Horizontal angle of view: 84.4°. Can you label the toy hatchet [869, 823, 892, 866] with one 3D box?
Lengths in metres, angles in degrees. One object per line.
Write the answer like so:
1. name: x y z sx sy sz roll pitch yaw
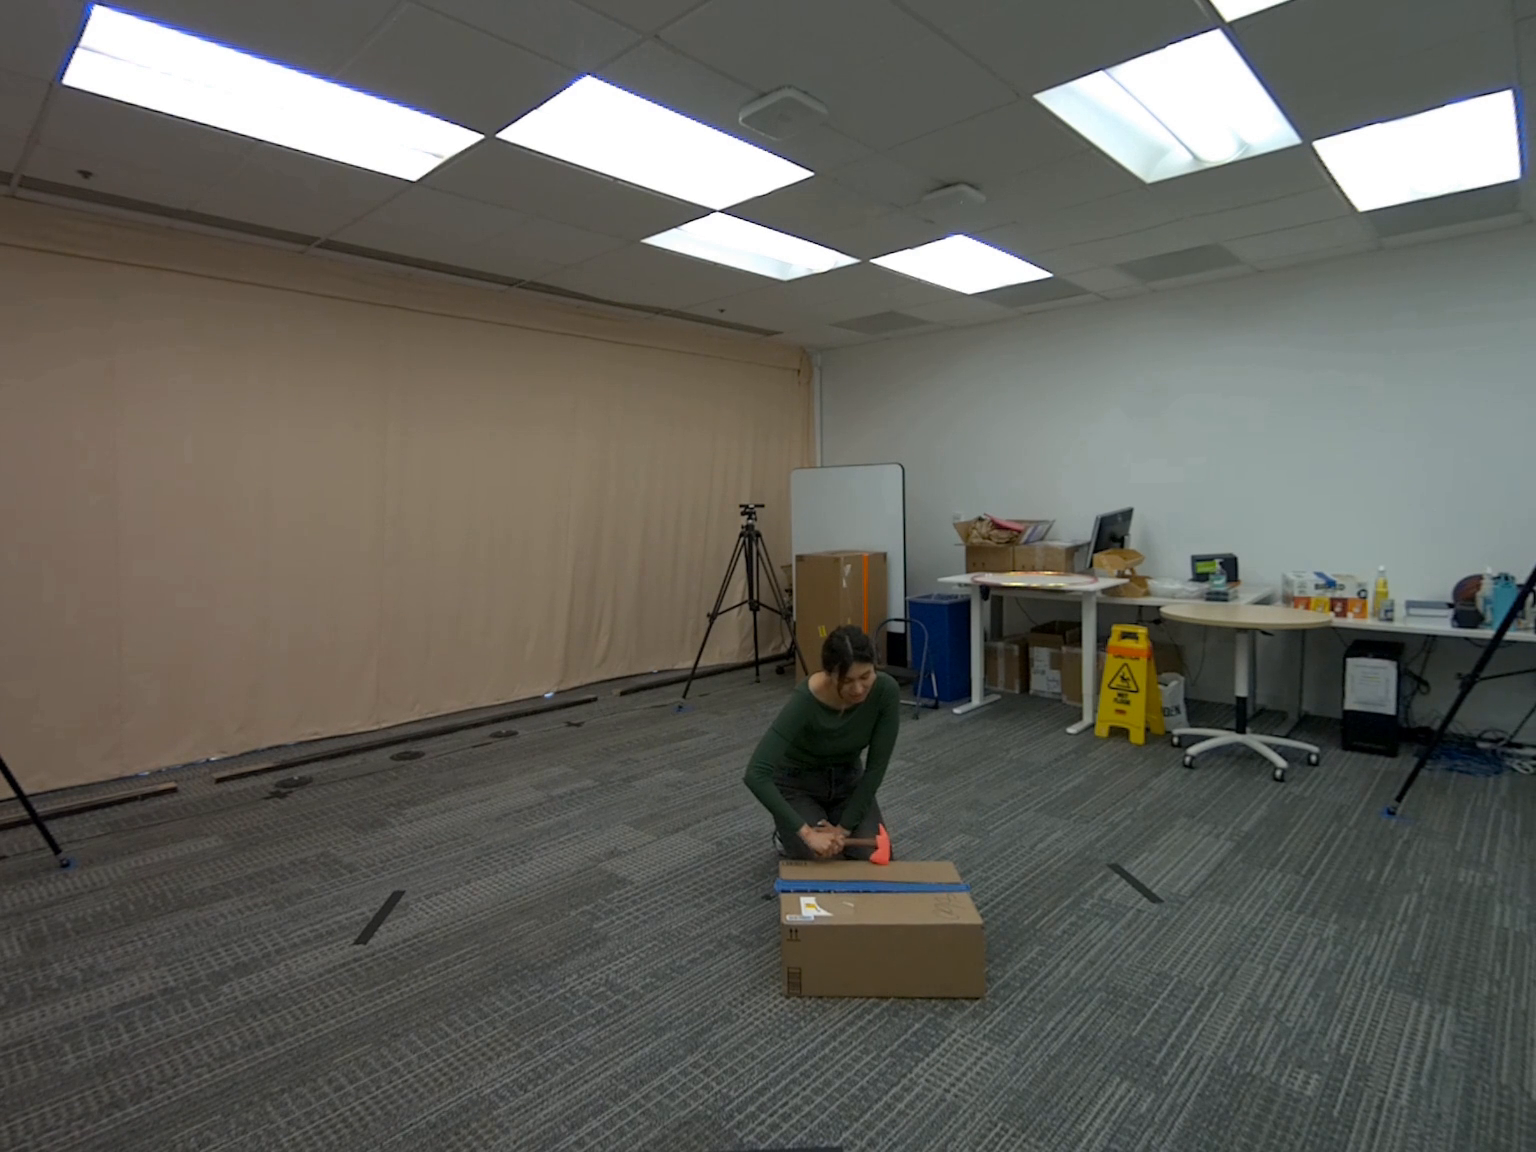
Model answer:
1. toy hatchet: 0.296 0.897 2.748 0.267 0.134 0.029 -16 -33 -10
